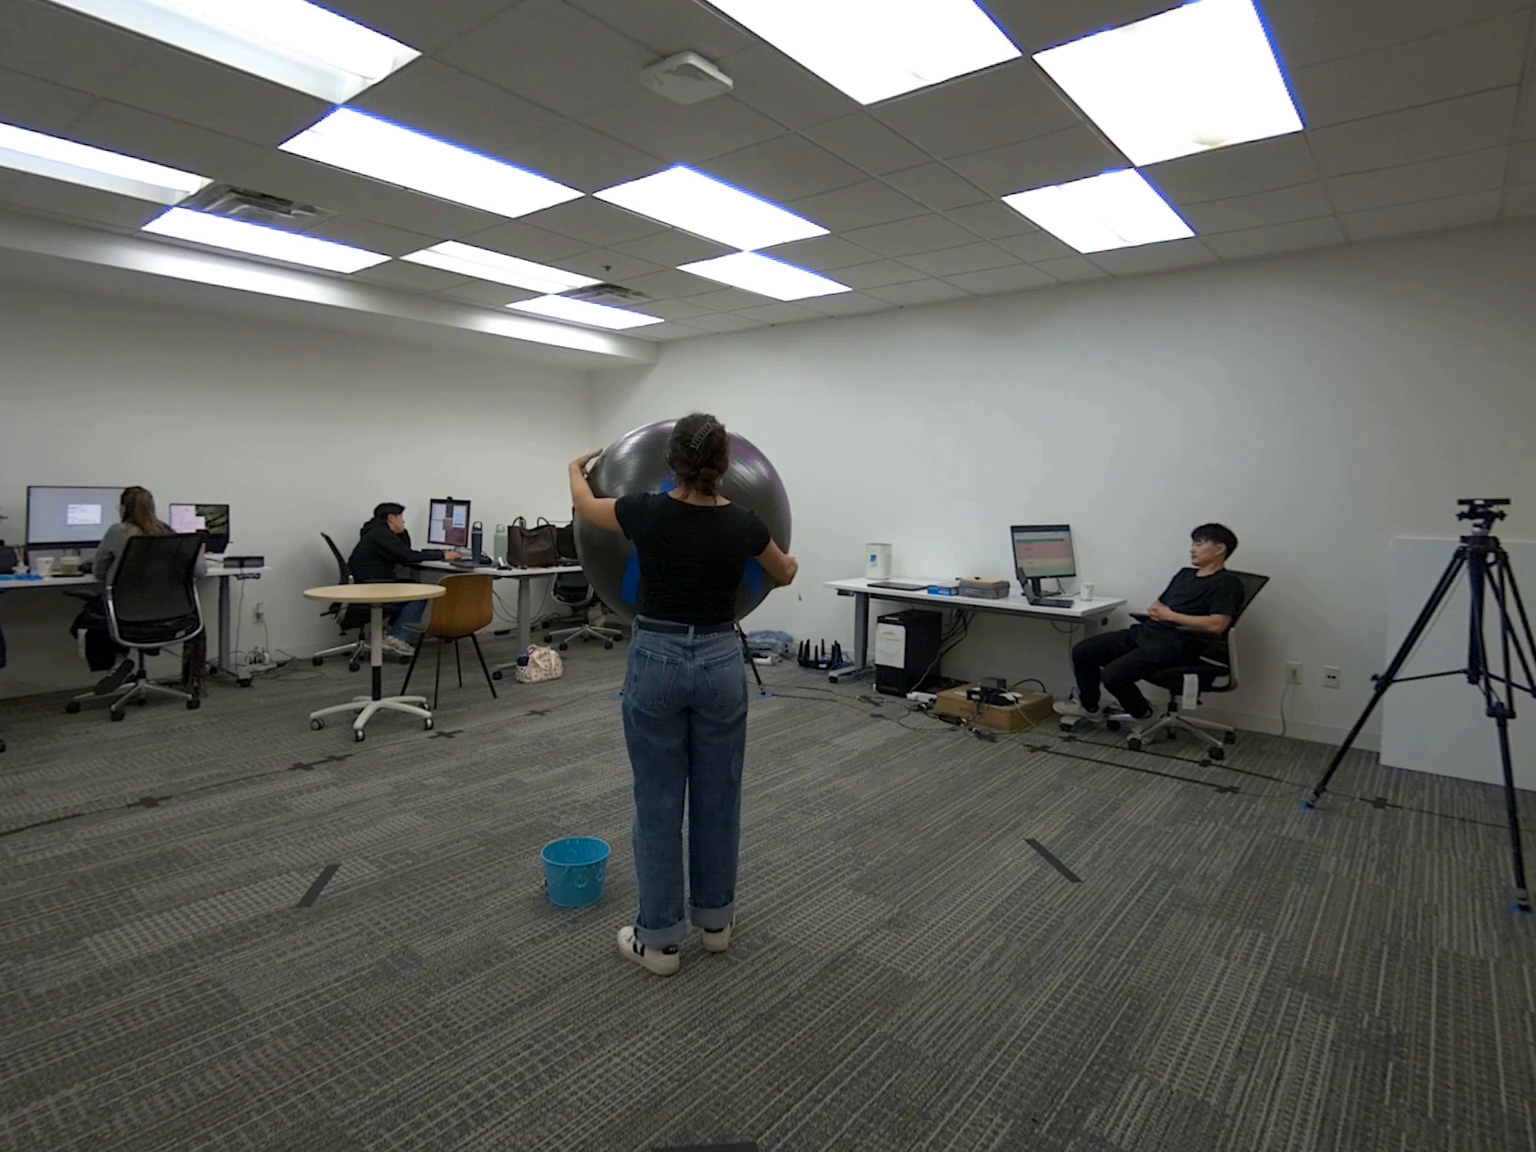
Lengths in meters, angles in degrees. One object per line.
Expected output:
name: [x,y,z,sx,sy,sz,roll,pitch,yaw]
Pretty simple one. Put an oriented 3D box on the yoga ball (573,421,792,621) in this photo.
yoga ball: [-0.307,-0.173,2.995,0.757,0.755,0.762,1,4,-2]
